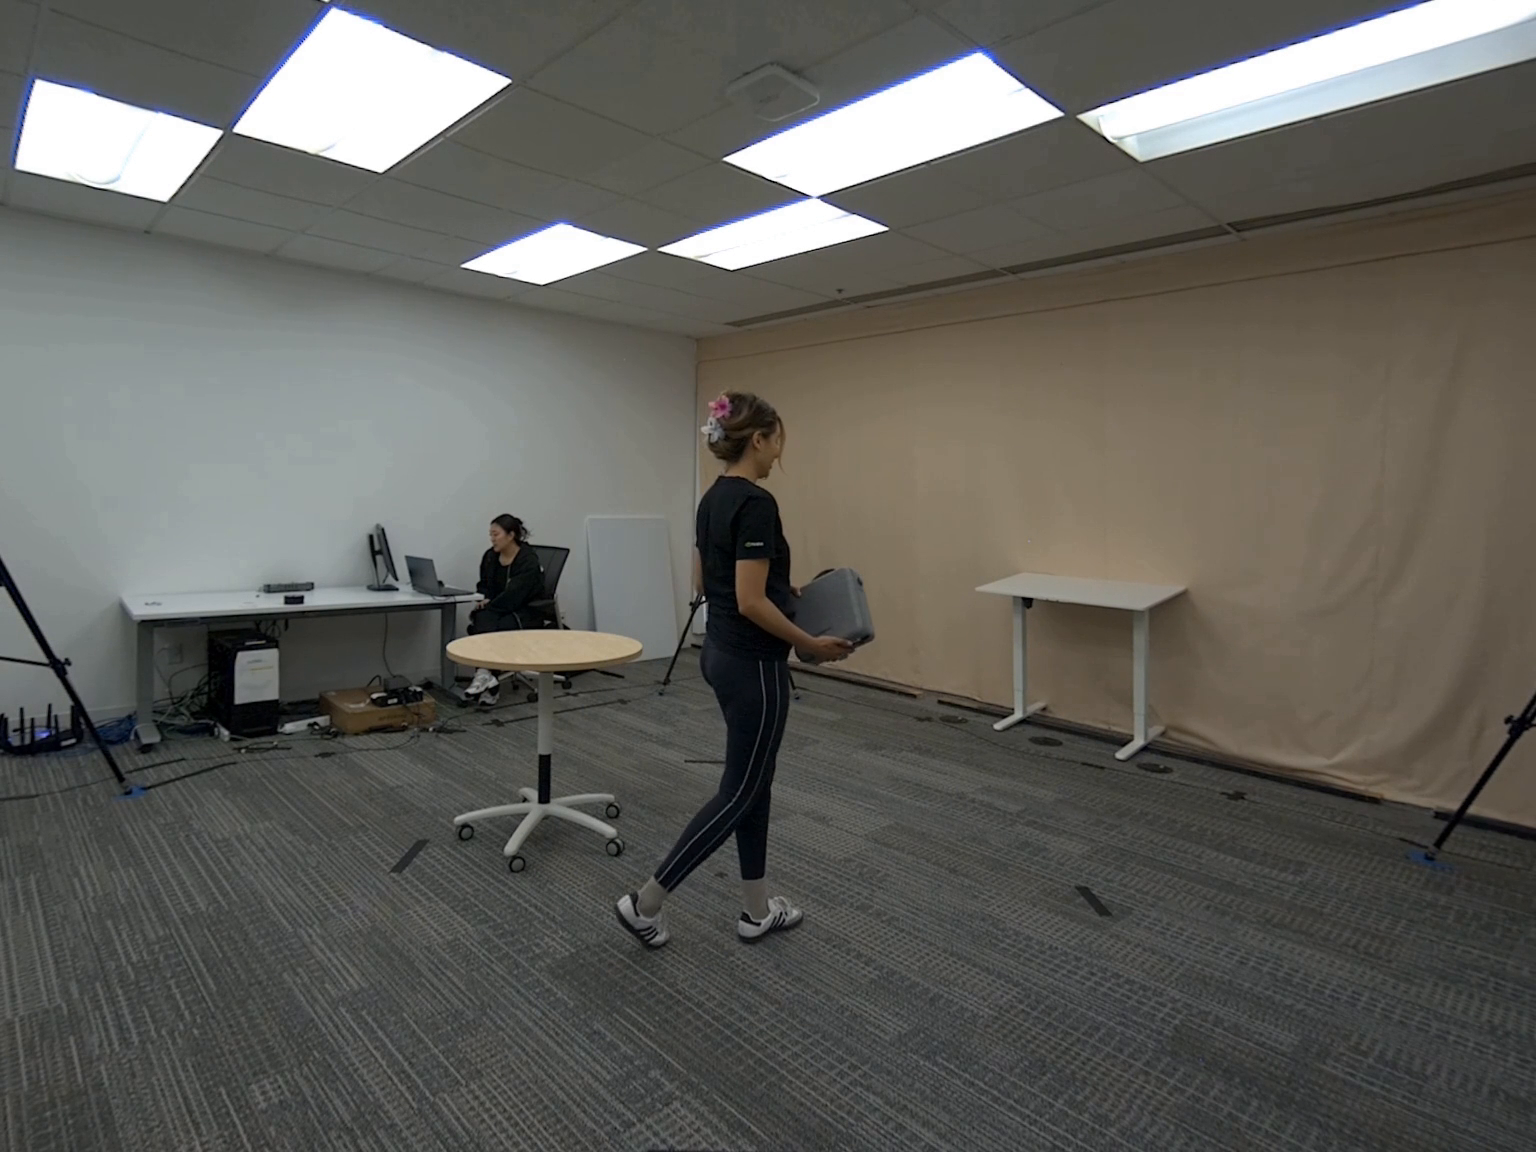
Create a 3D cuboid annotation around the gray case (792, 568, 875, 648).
[{"bbox_3d":[0.179,0.129,2.666,0.259,0.267,0.101,-28,-37,26],"label":"gray case"}]
